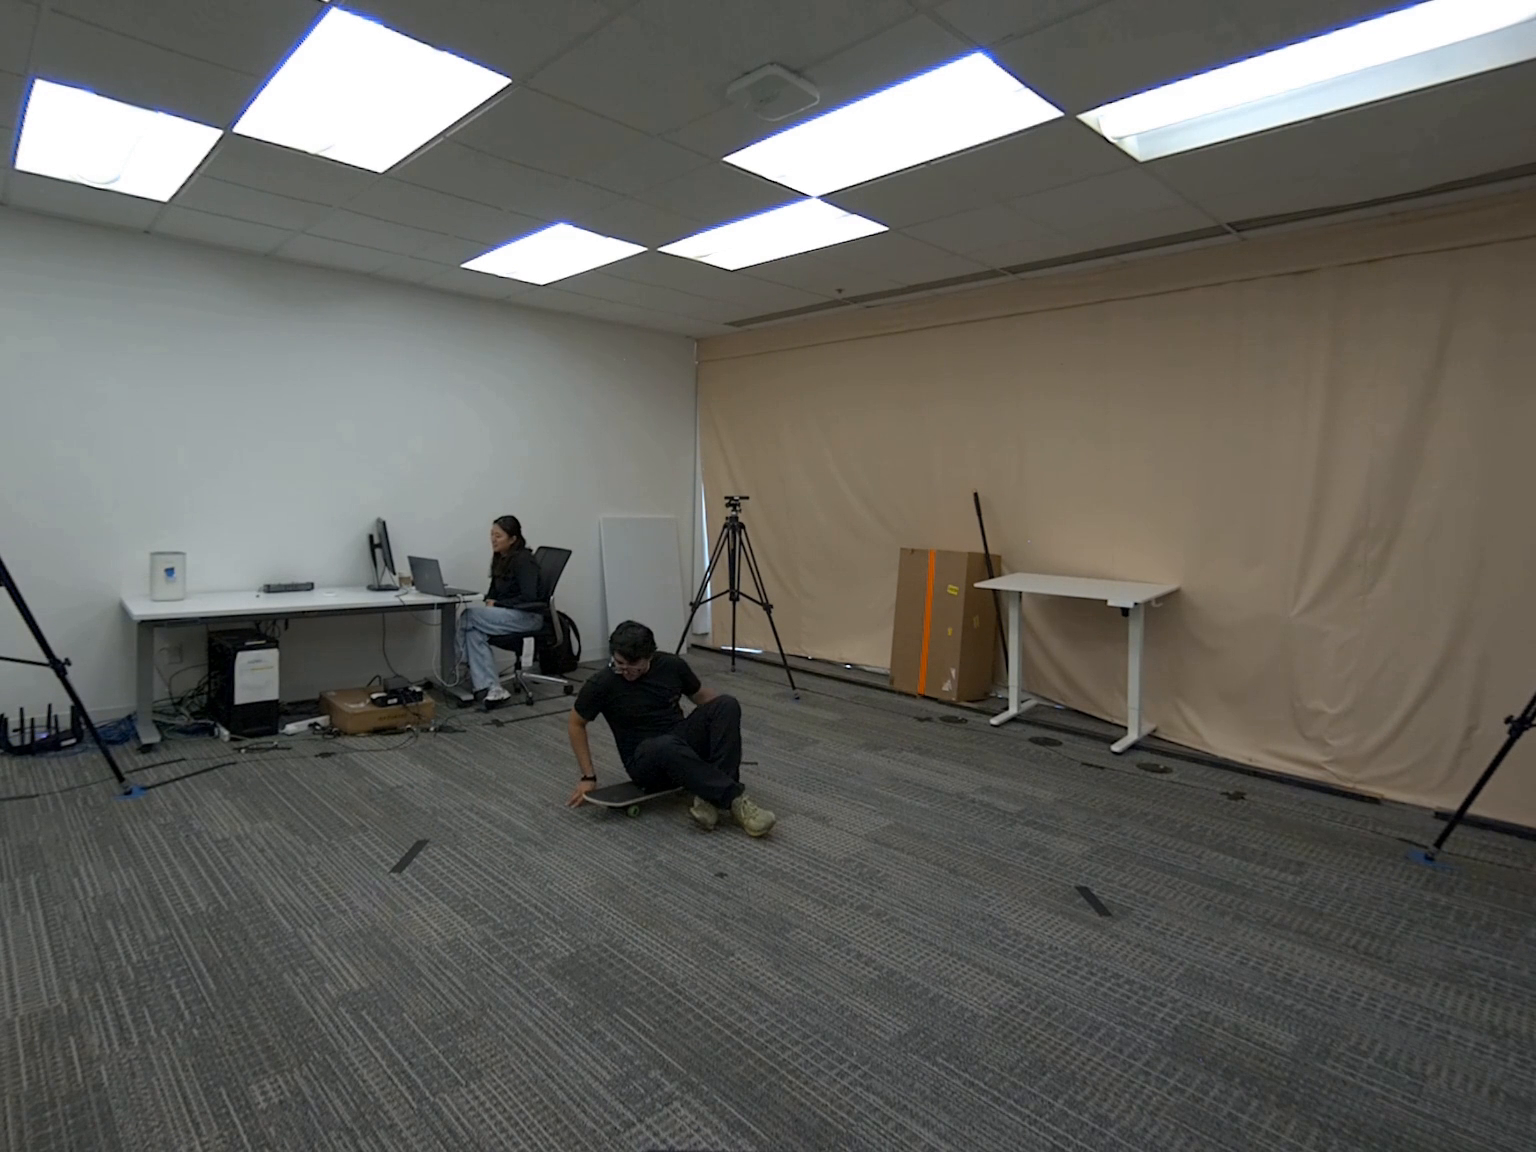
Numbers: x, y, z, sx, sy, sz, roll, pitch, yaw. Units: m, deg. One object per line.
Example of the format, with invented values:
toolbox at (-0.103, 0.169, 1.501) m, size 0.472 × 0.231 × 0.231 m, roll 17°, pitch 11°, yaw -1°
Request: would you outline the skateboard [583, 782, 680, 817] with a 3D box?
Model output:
skateboard at (-0.506, 0.974, 3.841) m, size 0.767 × 0.110 × 0.199 m, roll -2°, pitch 9°, yaw -43°
